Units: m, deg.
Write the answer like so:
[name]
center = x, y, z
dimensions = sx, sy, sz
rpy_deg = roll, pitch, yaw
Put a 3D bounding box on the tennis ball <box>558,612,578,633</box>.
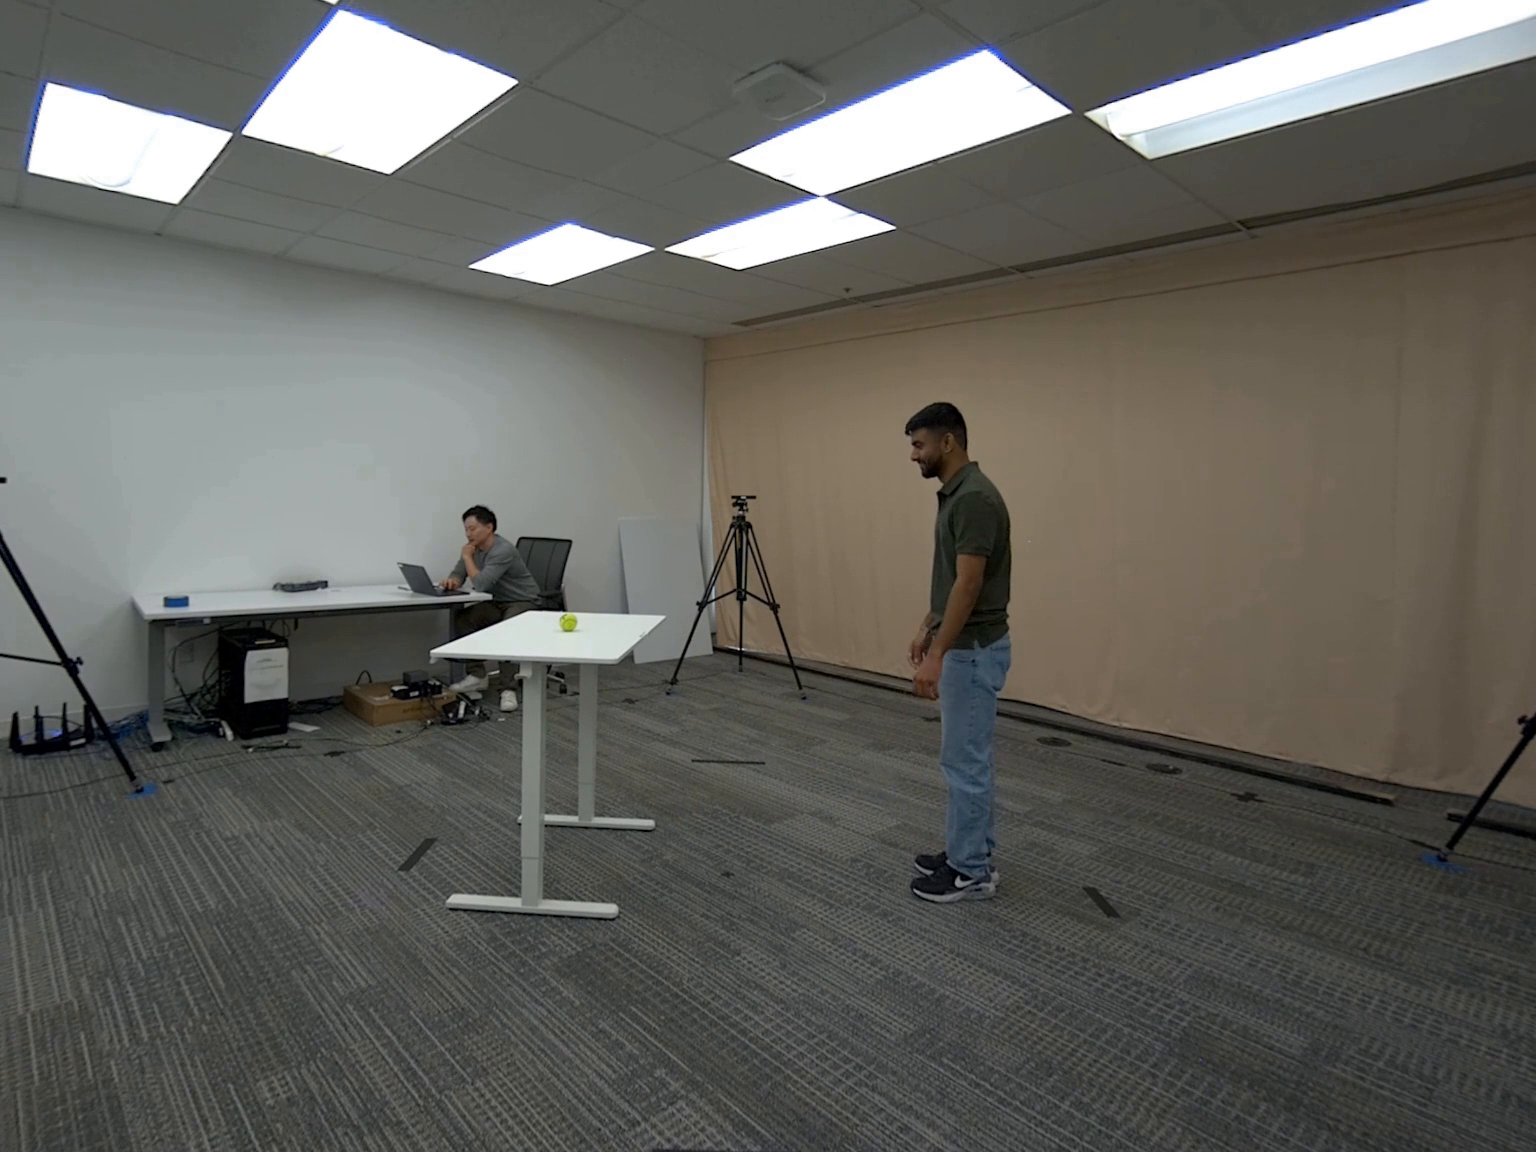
[tennis ball]
center = -0.730, 0.171, 3.133
dimensions = 0.066, 0.066, 0.067
rpy_deg = 1, 4, -1
